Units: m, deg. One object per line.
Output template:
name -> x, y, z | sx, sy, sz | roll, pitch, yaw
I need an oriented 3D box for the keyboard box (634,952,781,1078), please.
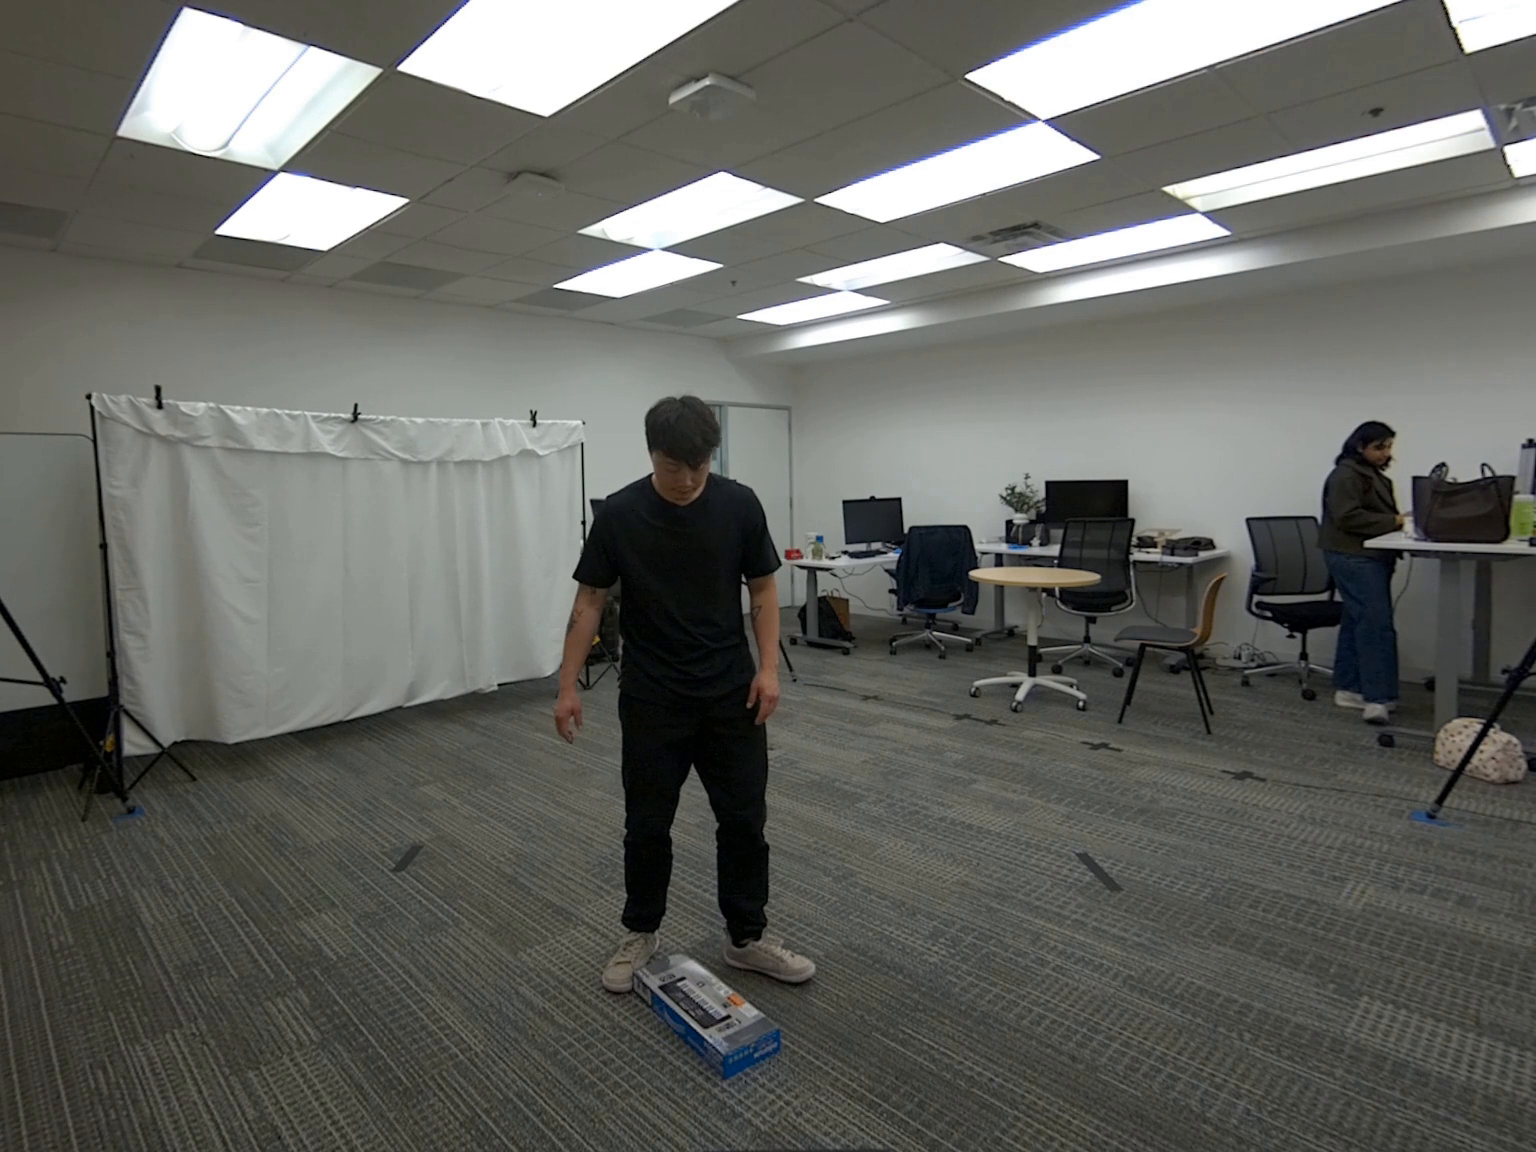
keyboard box -> -0.160, 1.128, 2.216 | 0.171, 0.059, 0.450 | -6, 8, -37
